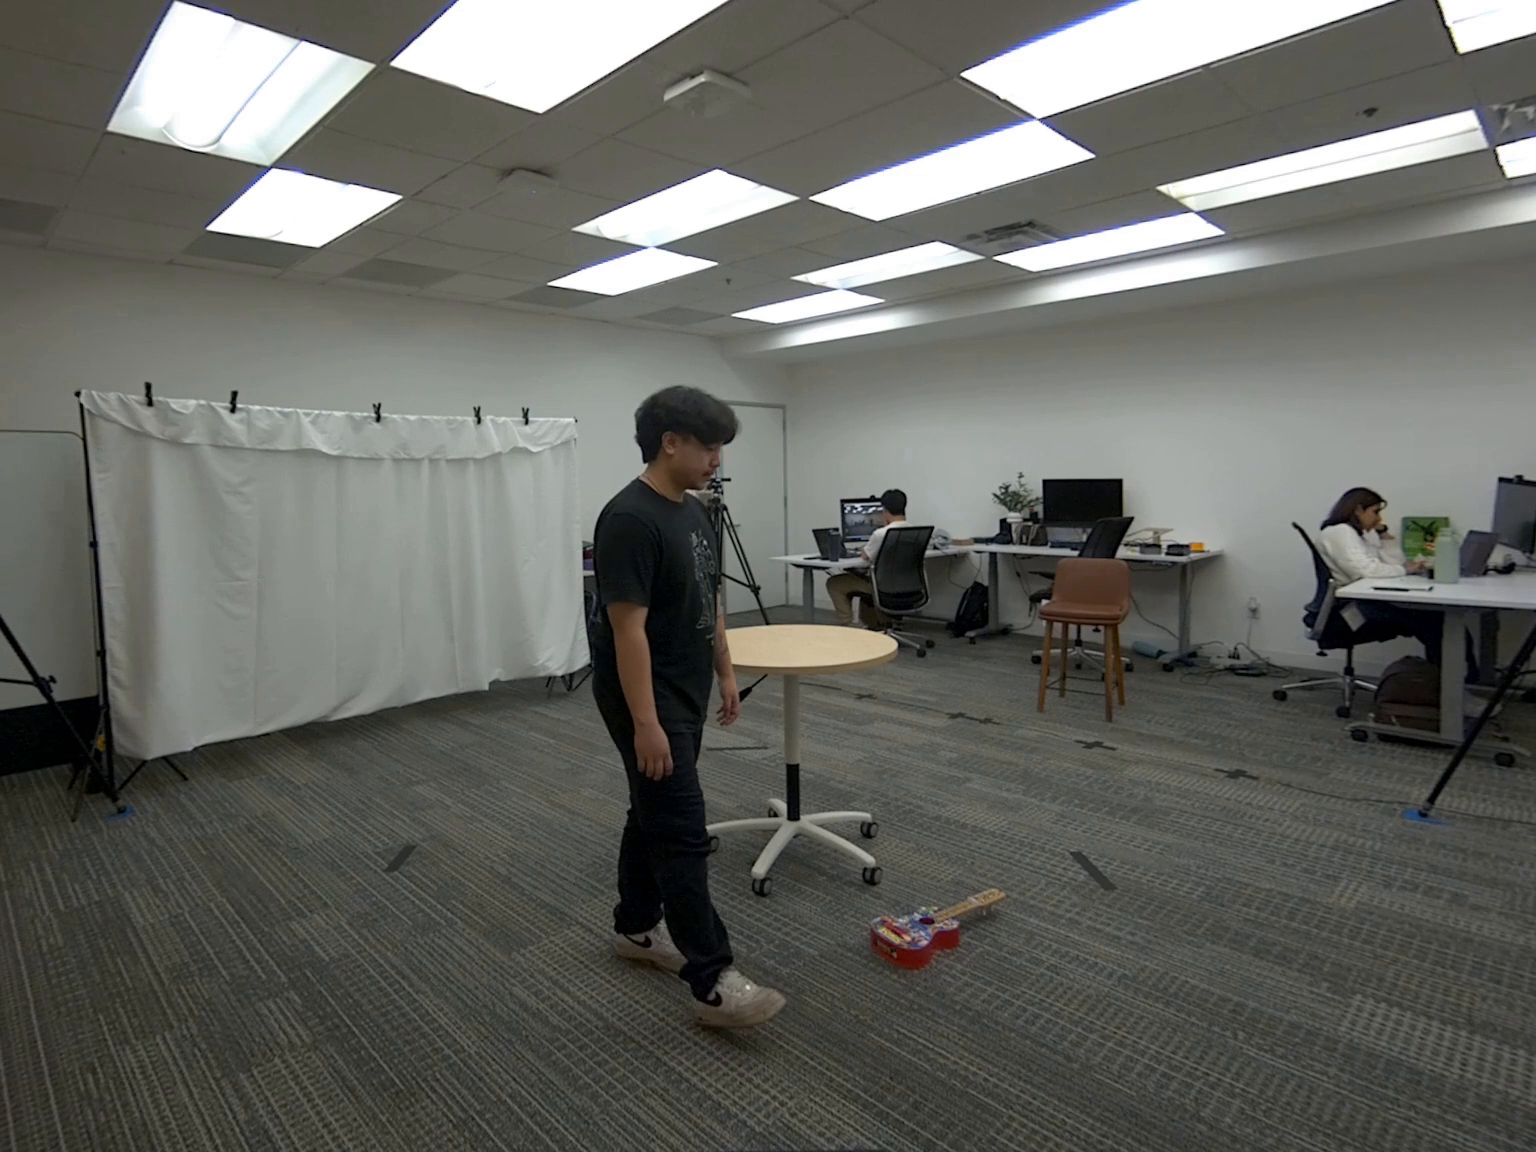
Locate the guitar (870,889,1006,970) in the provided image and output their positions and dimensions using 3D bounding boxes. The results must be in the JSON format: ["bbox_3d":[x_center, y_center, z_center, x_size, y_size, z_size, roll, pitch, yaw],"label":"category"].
[{"bbox_3d":[0.559,1.061,2.574,0.488,0.070,0.197,-4,6,-23],"label":"guitar"}]
